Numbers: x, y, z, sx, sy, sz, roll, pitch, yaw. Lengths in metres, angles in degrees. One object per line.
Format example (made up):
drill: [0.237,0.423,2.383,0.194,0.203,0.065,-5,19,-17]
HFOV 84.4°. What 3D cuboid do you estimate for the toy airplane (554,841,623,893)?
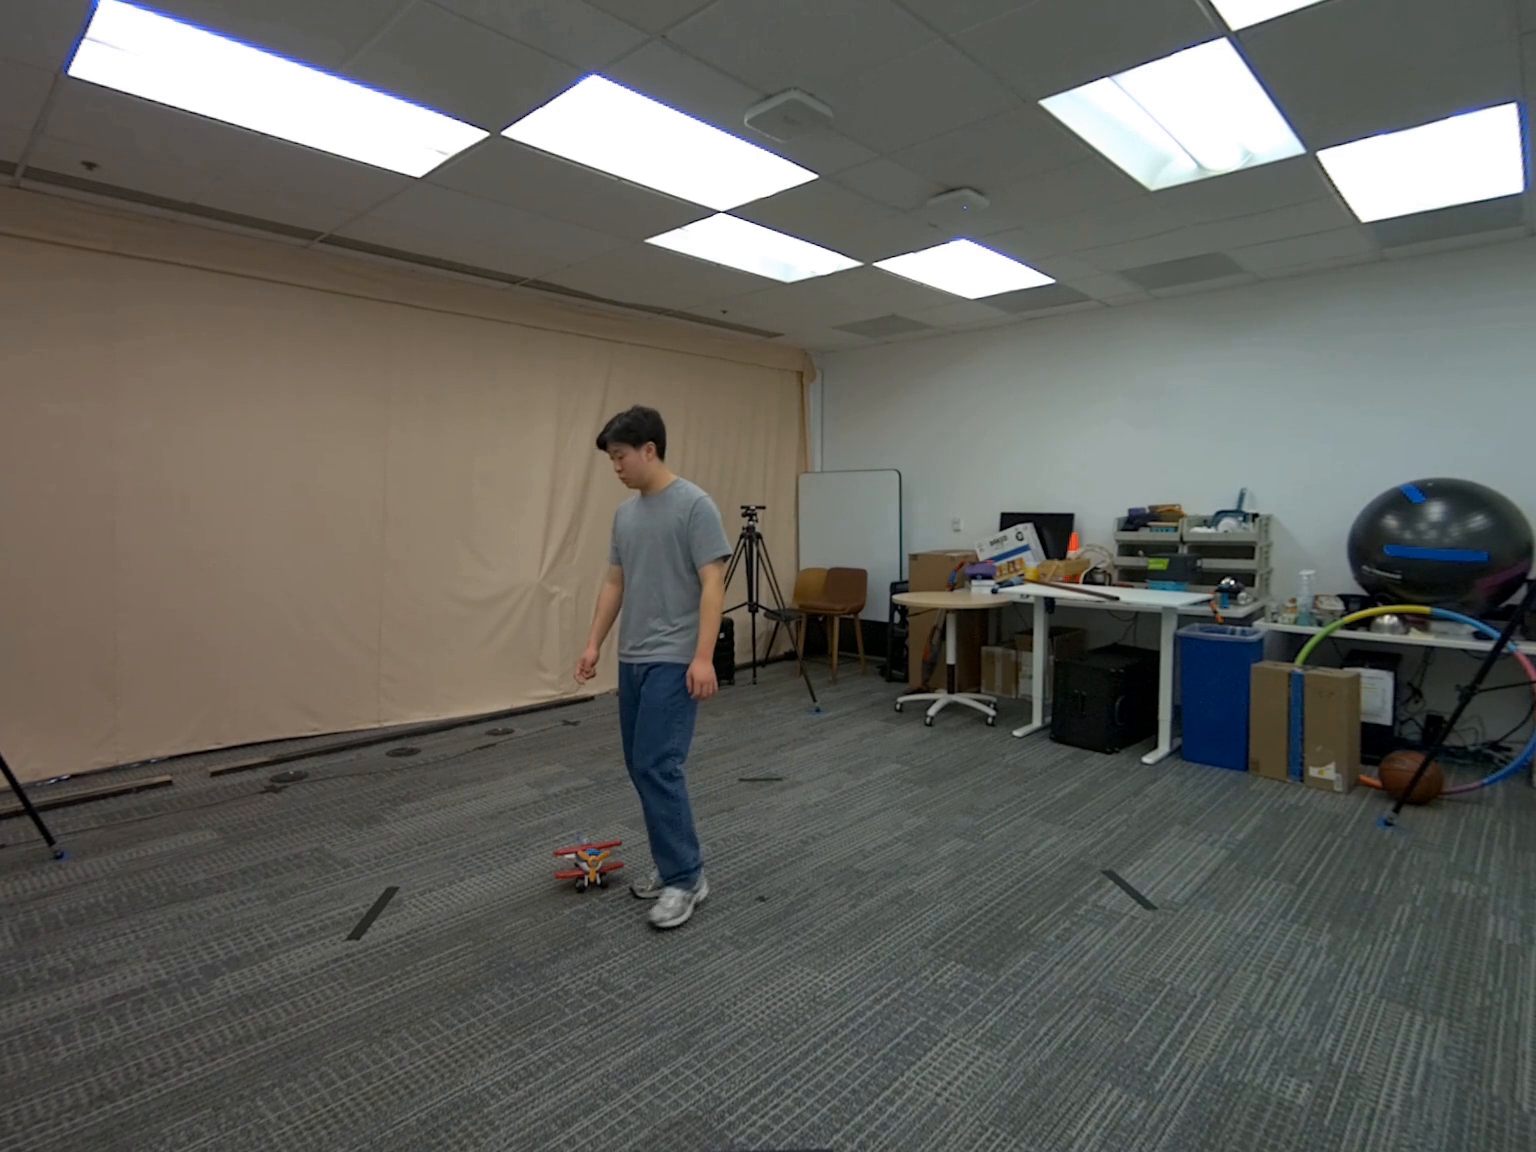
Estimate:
toy airplane: [-0.695,1.070,3.137,0.268,0.156,0.243,3,5,39]
